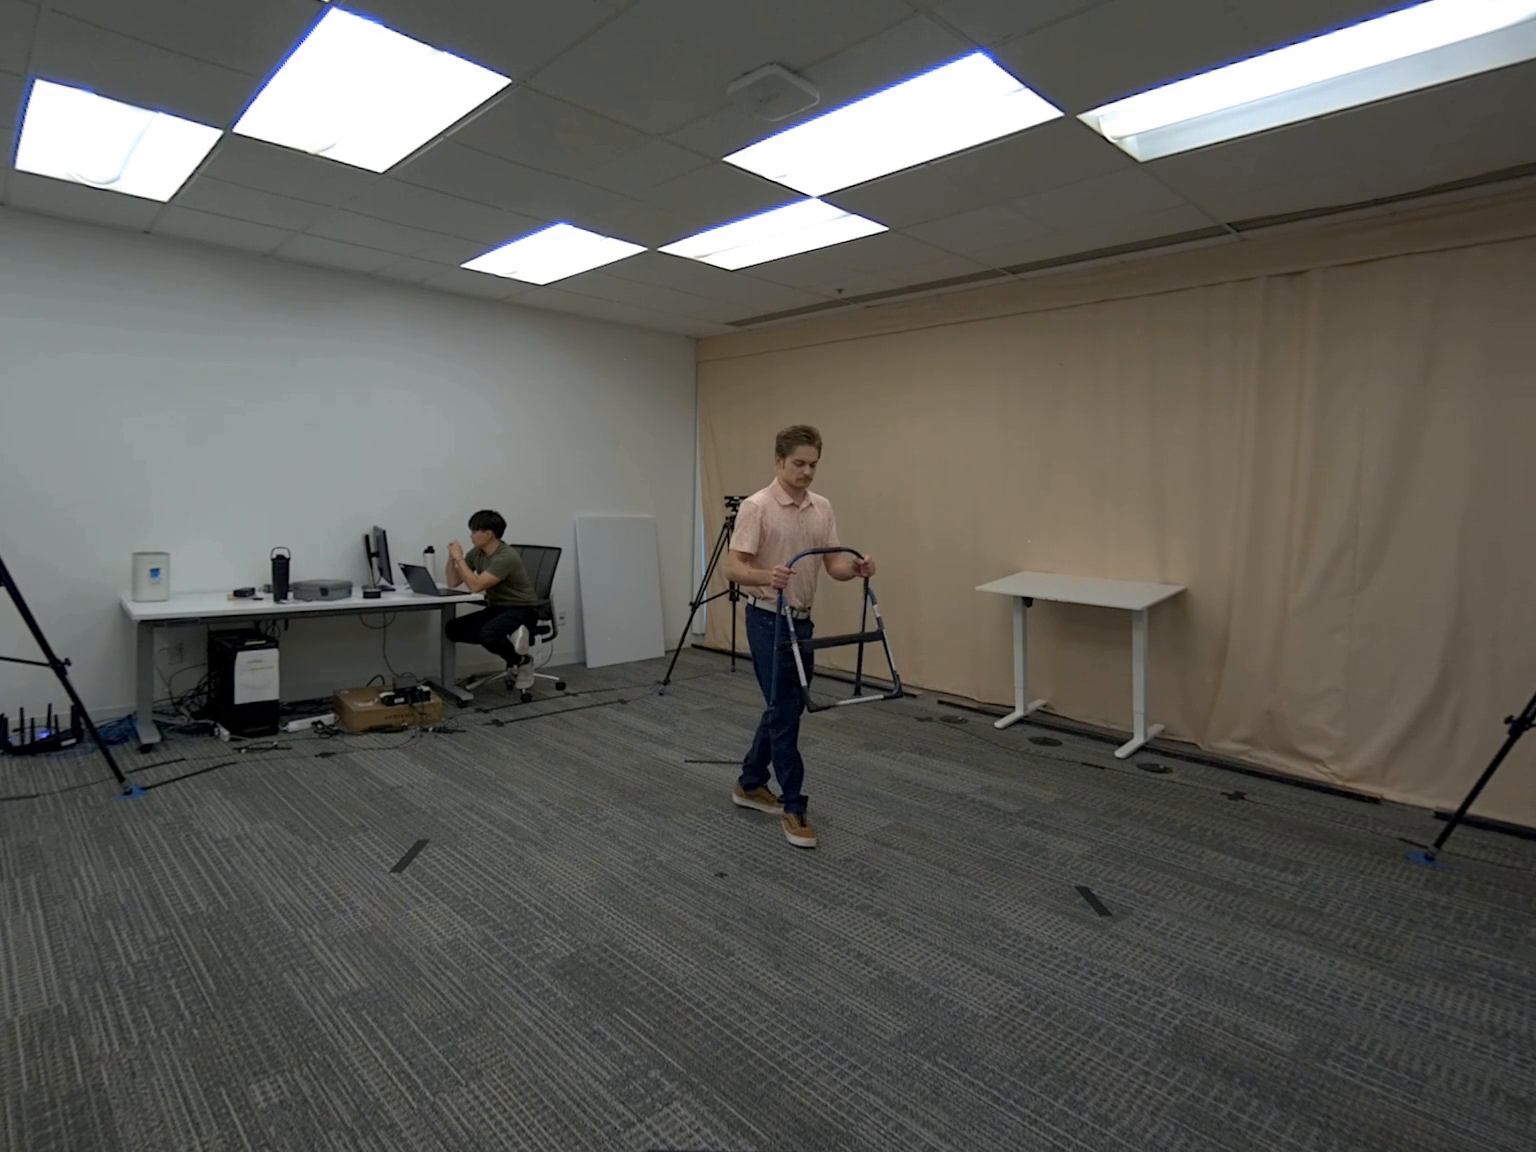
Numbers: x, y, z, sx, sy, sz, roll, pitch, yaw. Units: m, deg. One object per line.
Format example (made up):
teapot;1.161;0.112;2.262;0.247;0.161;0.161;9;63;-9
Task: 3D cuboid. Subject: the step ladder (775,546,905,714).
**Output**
step ladder;0.219;0.199;3.320;0.423;0.608;0.354;-5;-5;-26
